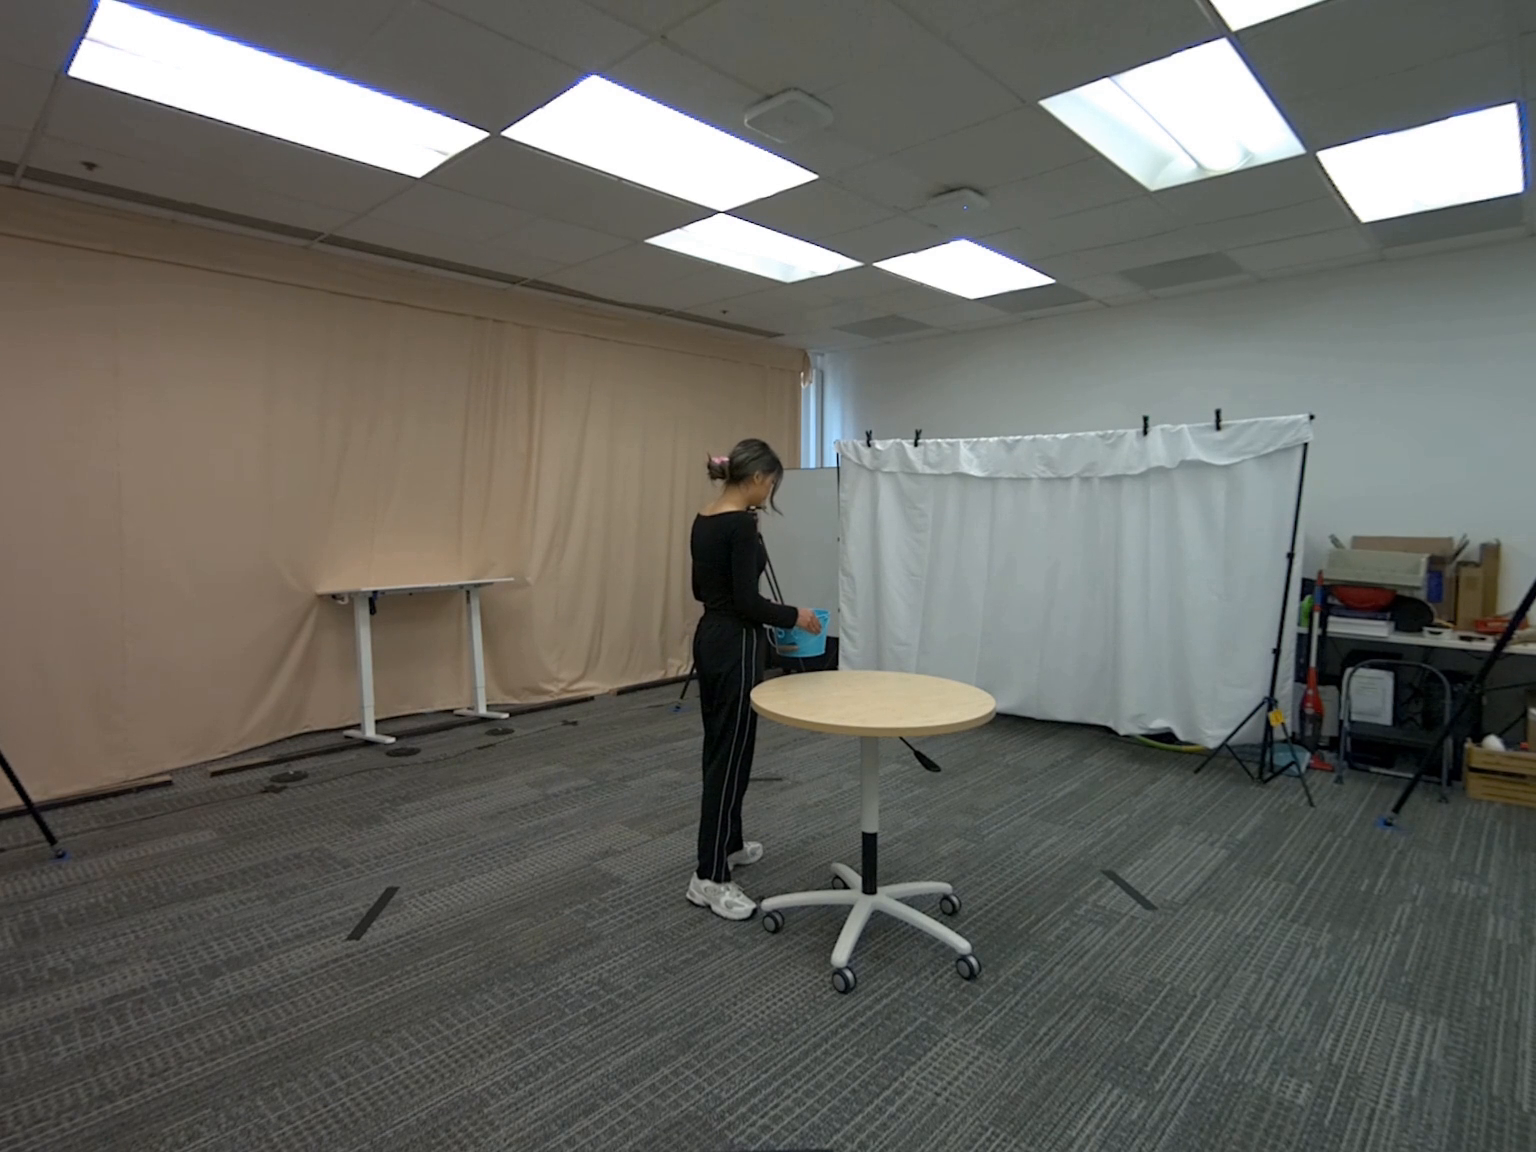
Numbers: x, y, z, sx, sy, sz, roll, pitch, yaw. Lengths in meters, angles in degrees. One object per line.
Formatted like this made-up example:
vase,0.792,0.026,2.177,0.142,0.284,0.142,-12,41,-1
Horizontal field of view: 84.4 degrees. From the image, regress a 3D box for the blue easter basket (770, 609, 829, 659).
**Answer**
blue easter basket,0.120,0.224,3.218,0.243,0.155,0.244,-2,4,-2
